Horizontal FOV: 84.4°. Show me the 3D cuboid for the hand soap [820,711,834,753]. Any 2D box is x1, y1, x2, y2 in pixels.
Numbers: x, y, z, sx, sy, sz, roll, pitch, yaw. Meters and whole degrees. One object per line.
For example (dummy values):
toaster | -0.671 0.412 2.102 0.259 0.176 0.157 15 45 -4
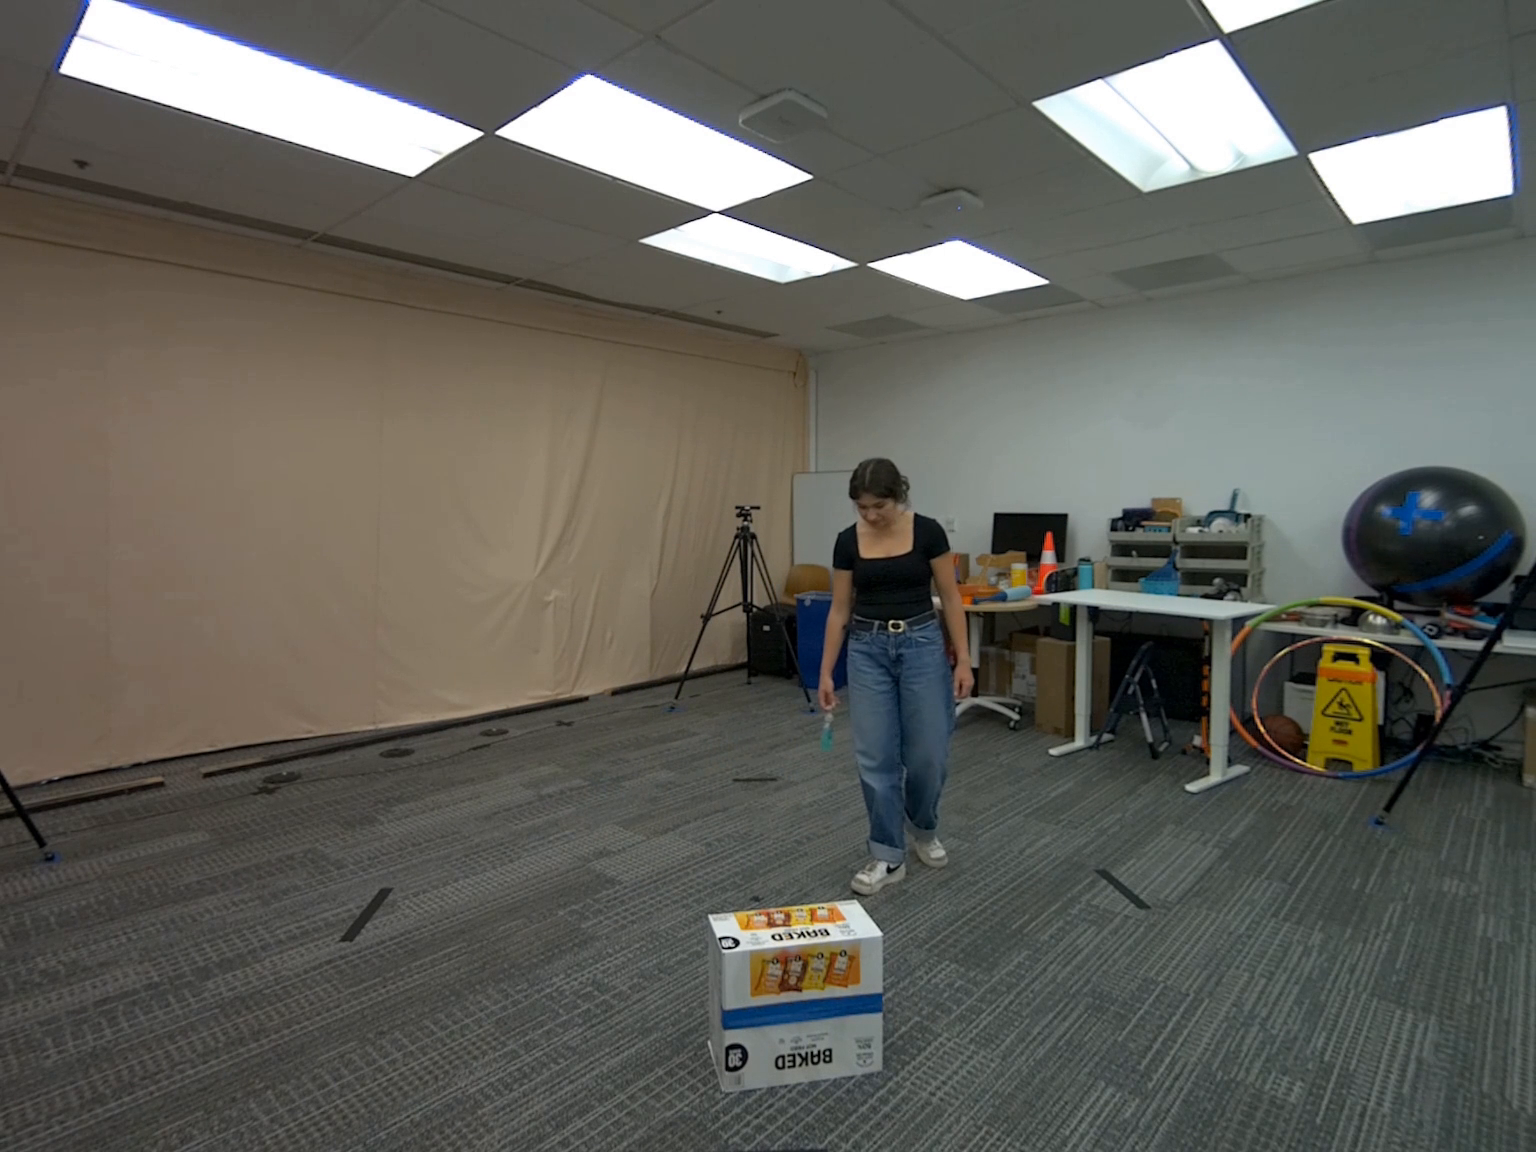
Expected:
hand soap | 0.232 0.561 3.137 0.044 0.167 0.083 10 10 17
